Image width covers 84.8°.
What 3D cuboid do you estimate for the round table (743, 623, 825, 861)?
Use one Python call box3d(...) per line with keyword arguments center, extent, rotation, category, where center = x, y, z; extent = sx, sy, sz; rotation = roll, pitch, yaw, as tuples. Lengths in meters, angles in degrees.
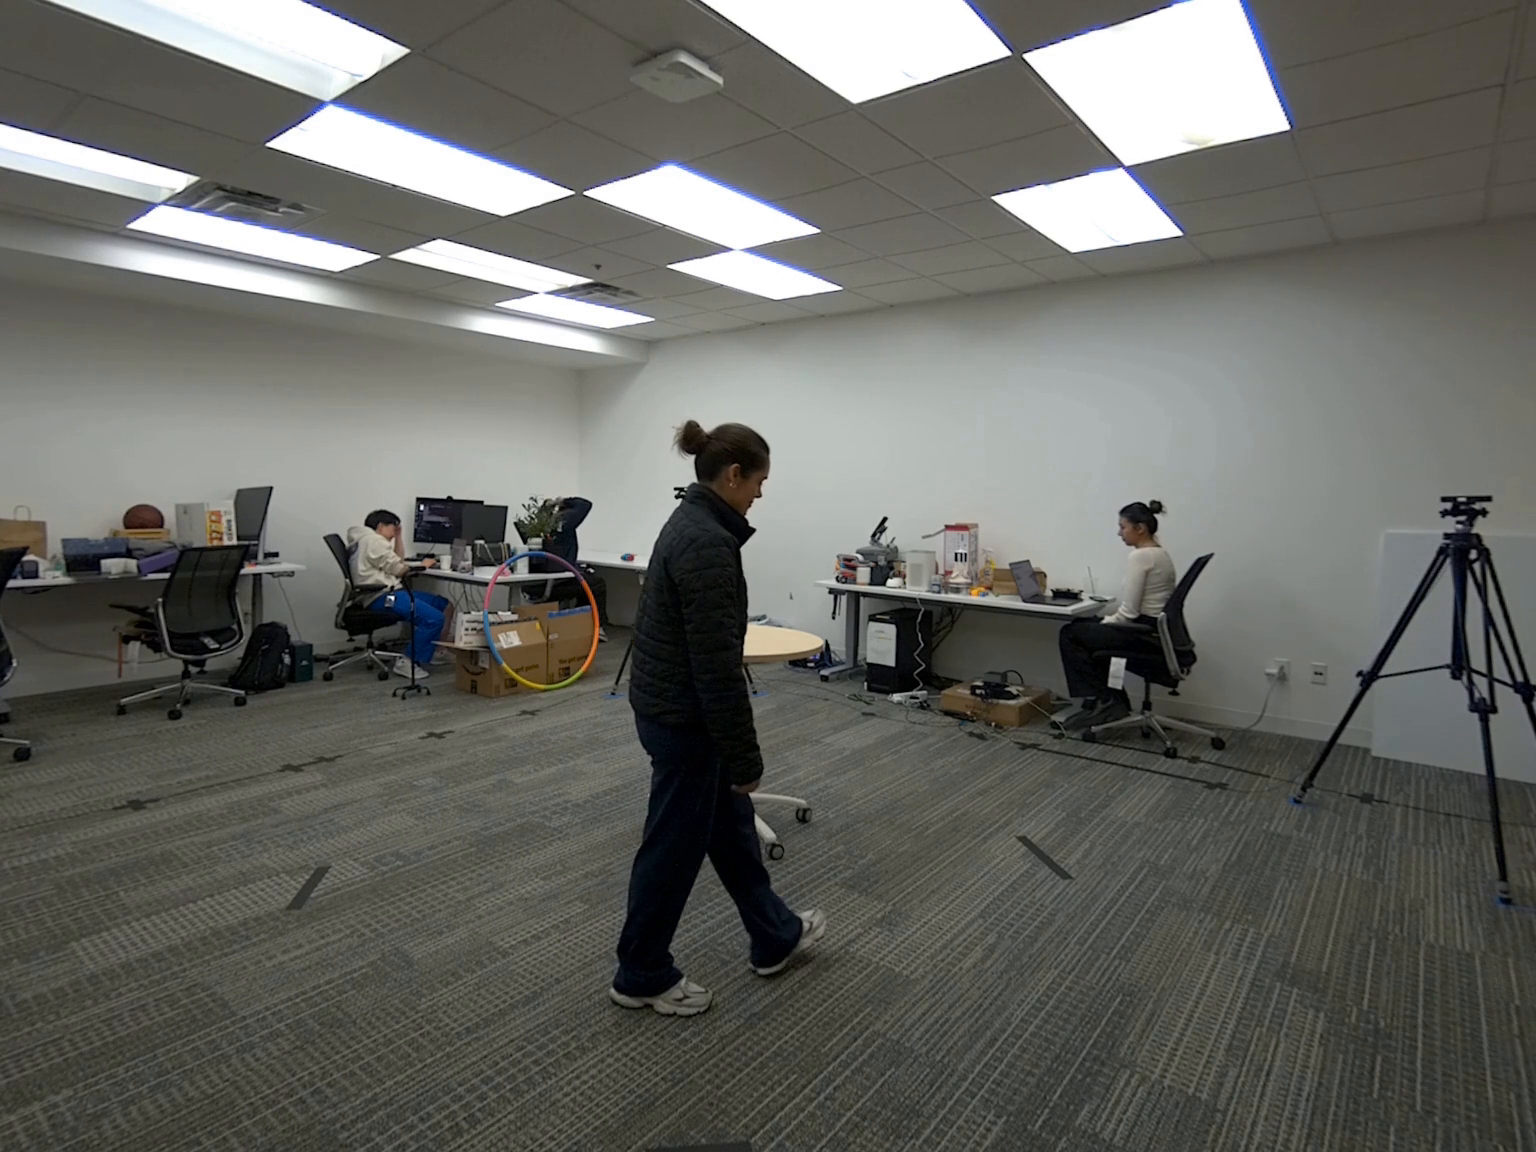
box3d(center=(-0.152, 0.633, 3.472), extent=(0.784, 0.784, 0.789), rotation=(1, 4, -2), category="round table")
